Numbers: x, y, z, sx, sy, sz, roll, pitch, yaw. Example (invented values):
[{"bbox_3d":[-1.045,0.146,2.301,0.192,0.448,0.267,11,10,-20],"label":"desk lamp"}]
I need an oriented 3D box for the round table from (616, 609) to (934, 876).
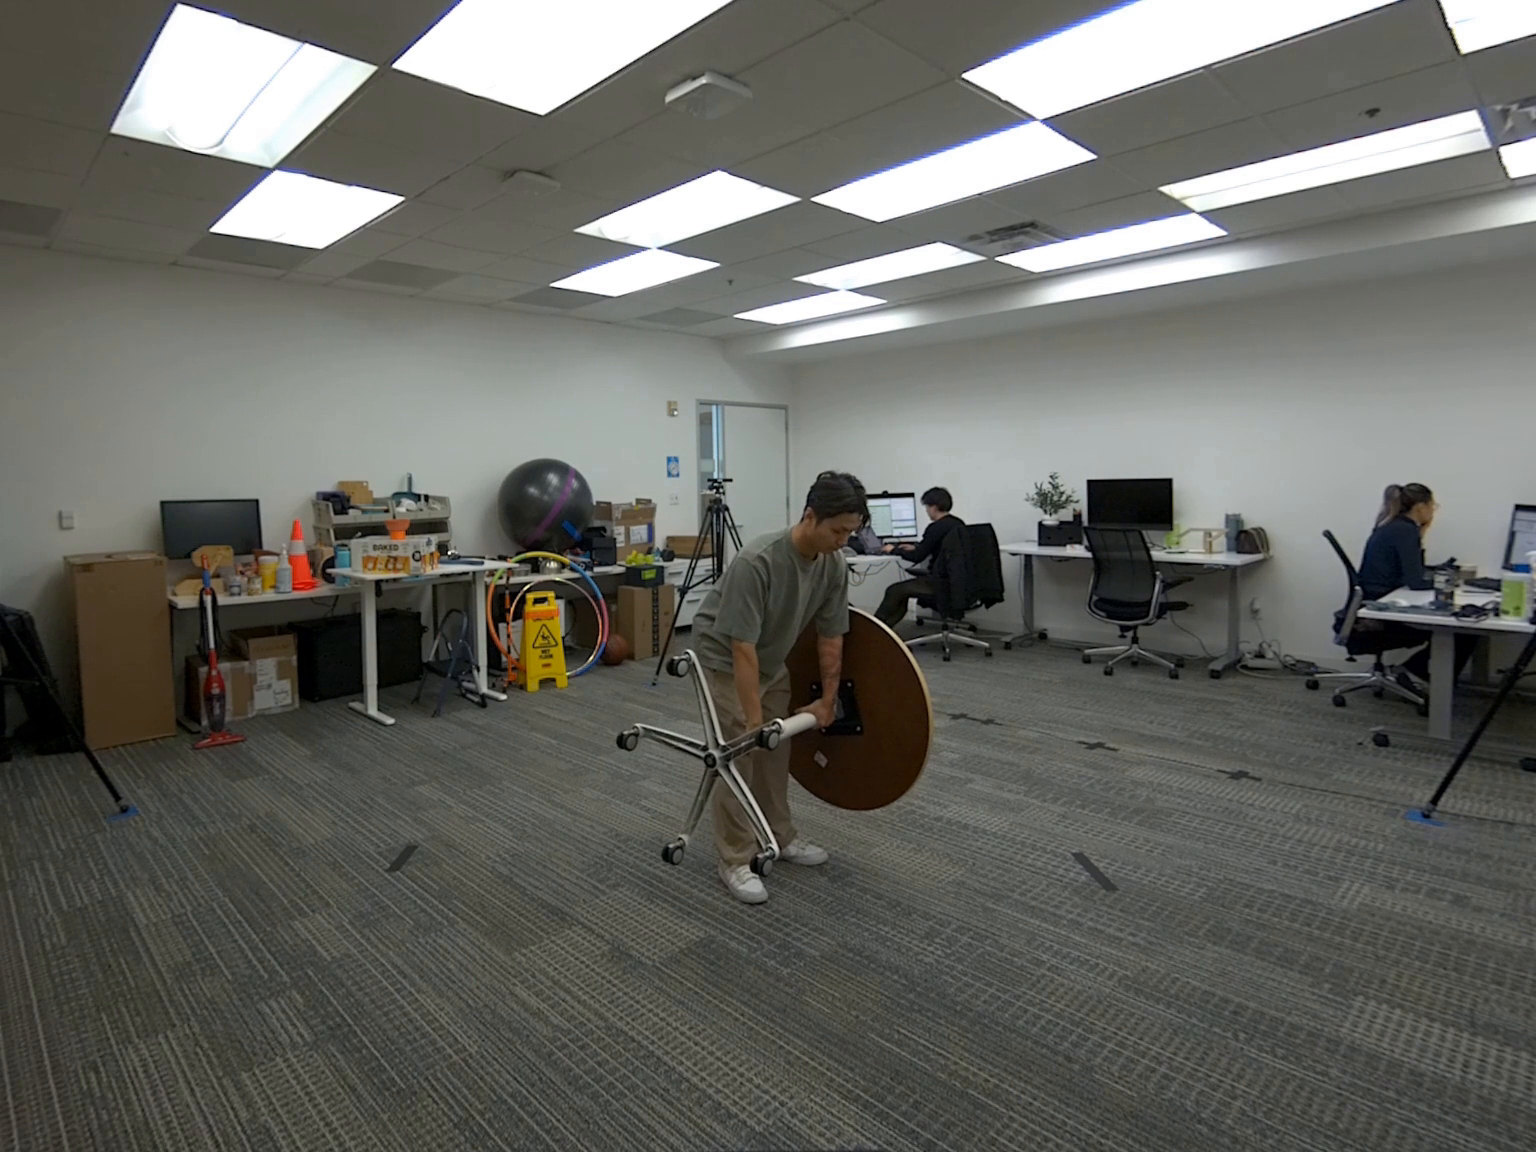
[{"bbox_3d":[0.028,0.541,2.886,0.809,0.781,0.768,3,9,40],"label":"round table"}]
